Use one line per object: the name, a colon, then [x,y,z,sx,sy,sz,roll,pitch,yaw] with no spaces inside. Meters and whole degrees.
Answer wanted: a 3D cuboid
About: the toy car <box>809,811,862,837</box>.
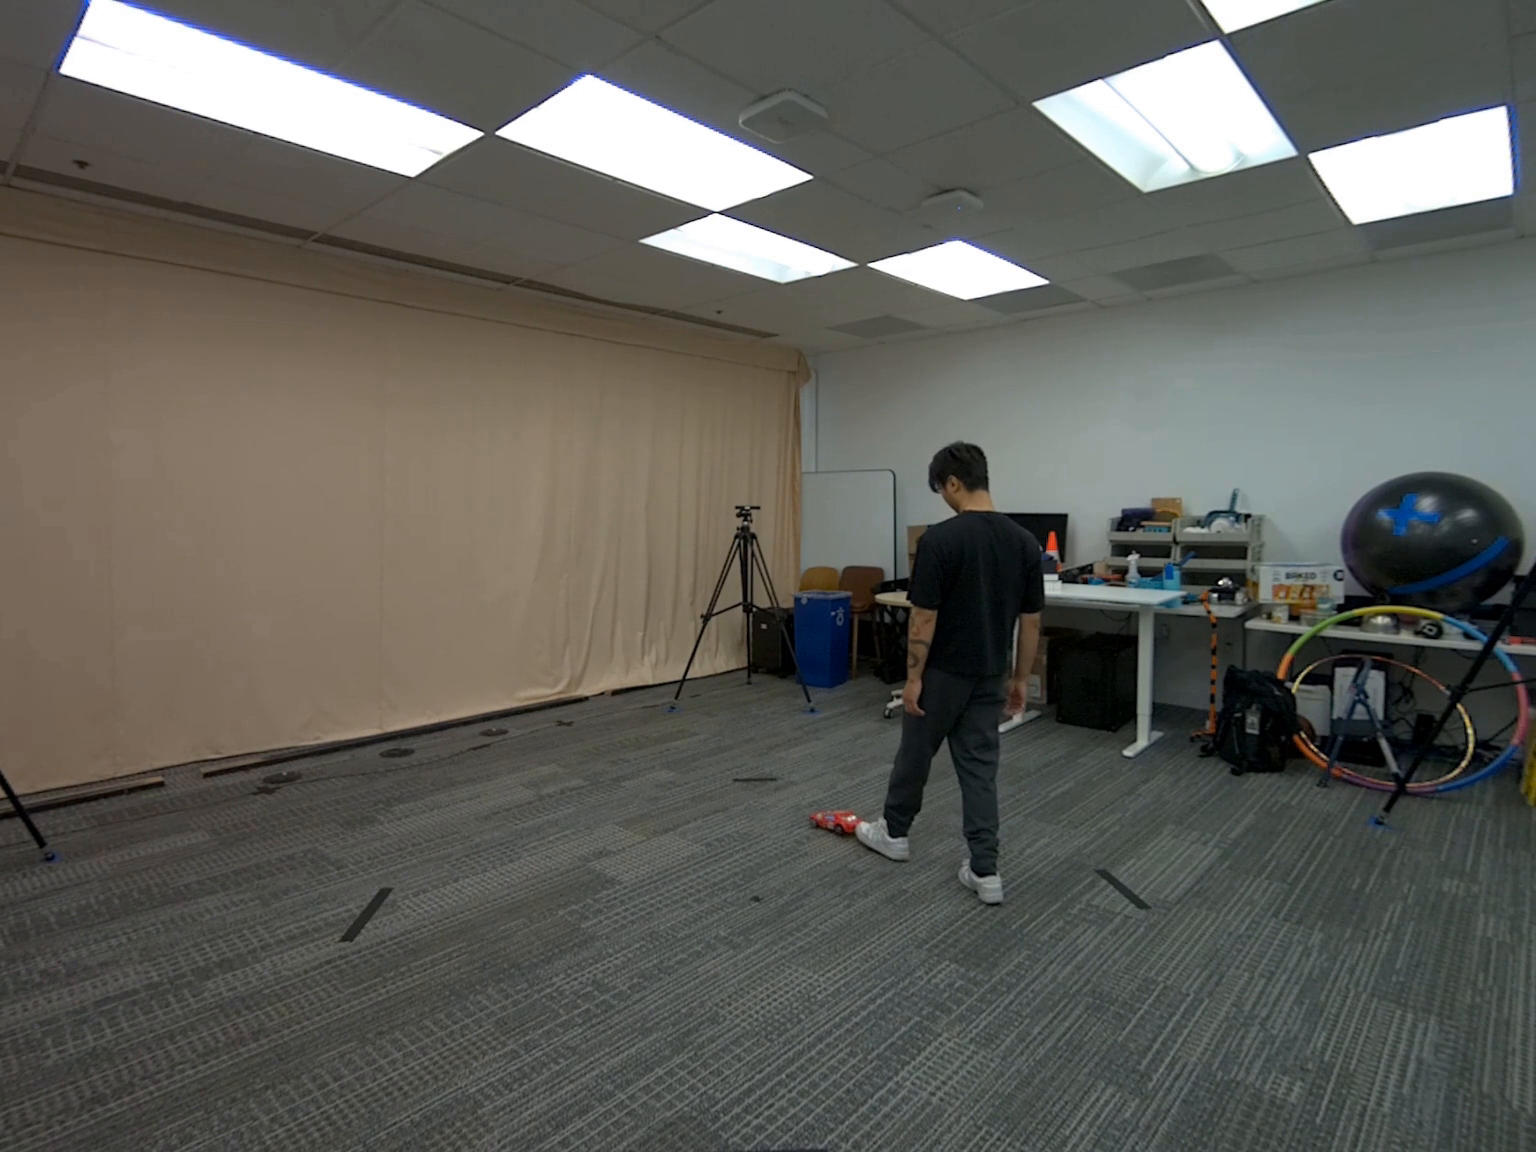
toy car: [0.305,1.054,3.602,0.126,0.084,0.261,-3,-9,-43]
